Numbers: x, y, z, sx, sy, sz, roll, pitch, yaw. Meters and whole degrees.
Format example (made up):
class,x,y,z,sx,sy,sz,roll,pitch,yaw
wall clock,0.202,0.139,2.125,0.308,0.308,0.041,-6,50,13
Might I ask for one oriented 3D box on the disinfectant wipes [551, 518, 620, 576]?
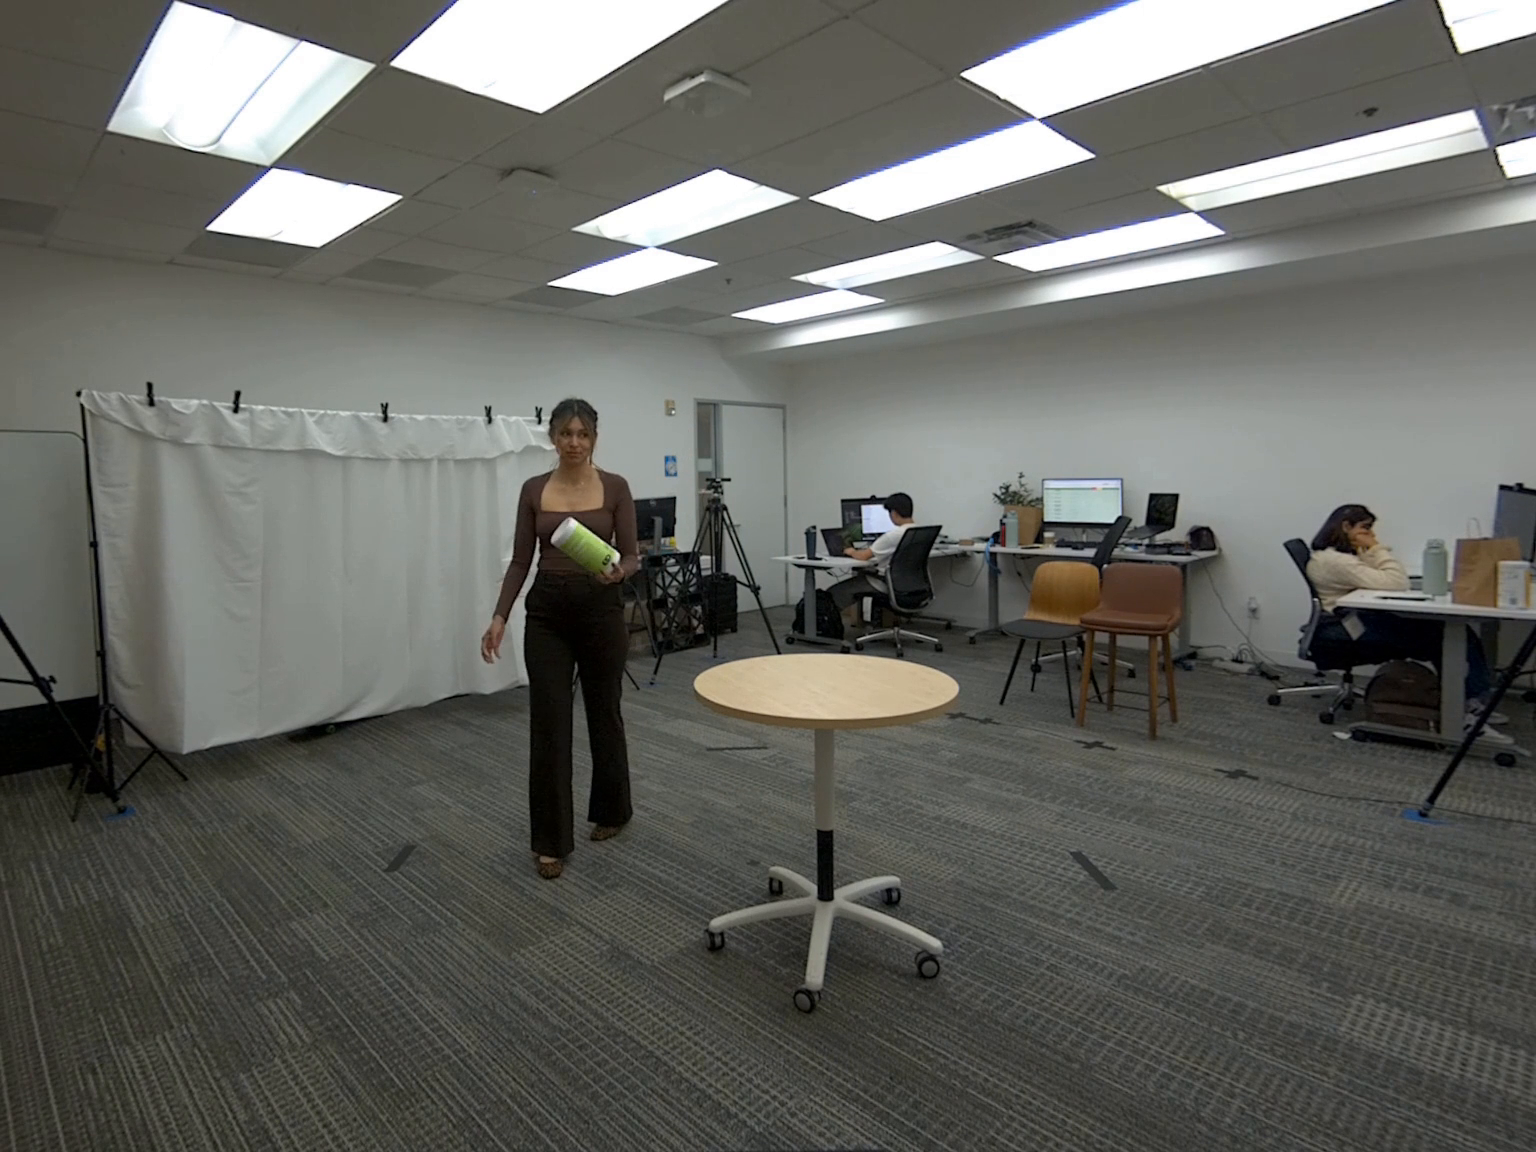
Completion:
class,x,y,z,sx,sy,sz,roll,pitch,yaw
disinfectant wipes,-0.615,-0.093,2.872,0.212,0.118,0.121,41,-14,-22
